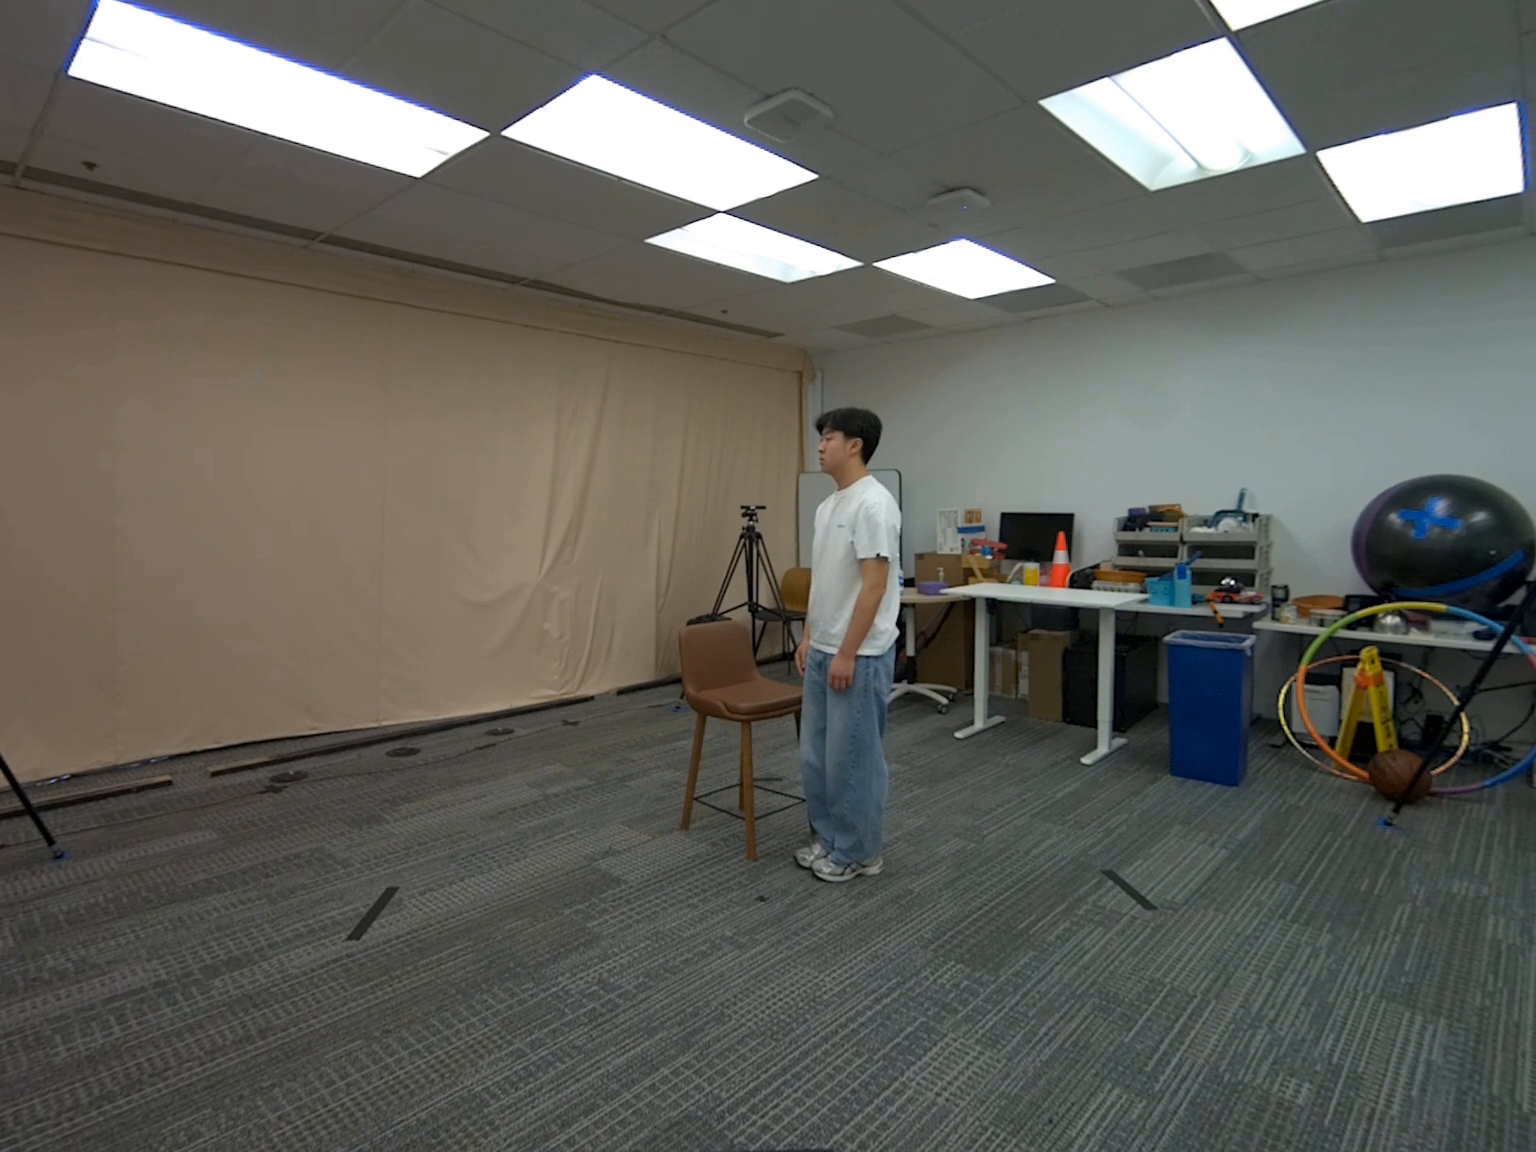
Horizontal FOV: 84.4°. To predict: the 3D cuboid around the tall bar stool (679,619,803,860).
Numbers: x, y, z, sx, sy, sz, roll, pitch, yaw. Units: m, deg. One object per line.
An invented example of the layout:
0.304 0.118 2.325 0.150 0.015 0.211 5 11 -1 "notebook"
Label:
-0.093 0.656 3.579 0.442 0.889 0.483 -3 2 -44 "tall bar stool"
